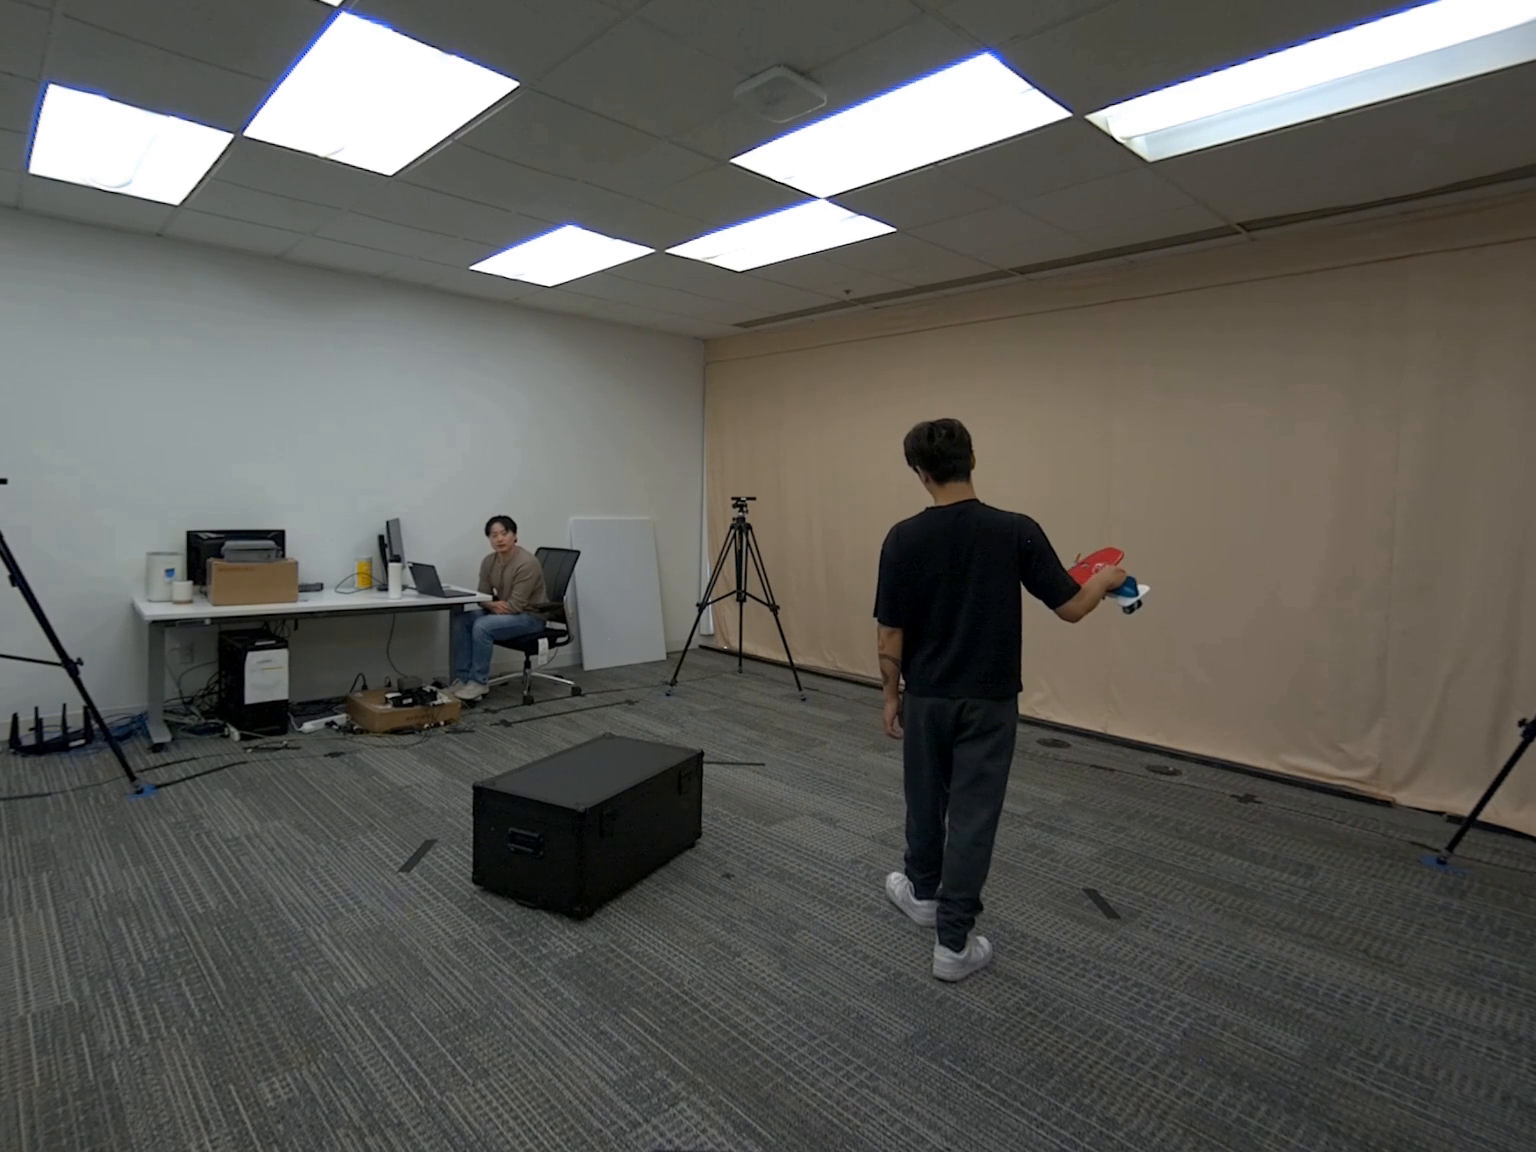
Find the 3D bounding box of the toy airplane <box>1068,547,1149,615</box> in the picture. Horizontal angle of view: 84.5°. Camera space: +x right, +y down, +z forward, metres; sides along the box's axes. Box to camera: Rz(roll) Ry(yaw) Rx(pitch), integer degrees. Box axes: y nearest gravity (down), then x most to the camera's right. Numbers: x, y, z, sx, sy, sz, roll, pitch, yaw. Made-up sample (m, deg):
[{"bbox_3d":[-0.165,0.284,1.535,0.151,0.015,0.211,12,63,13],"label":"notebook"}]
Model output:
[{"bbox_3d":[1.085,0.019,2.717,0.264,0.154,0.250,-9,24,39],"label":"toy airplane"}]
